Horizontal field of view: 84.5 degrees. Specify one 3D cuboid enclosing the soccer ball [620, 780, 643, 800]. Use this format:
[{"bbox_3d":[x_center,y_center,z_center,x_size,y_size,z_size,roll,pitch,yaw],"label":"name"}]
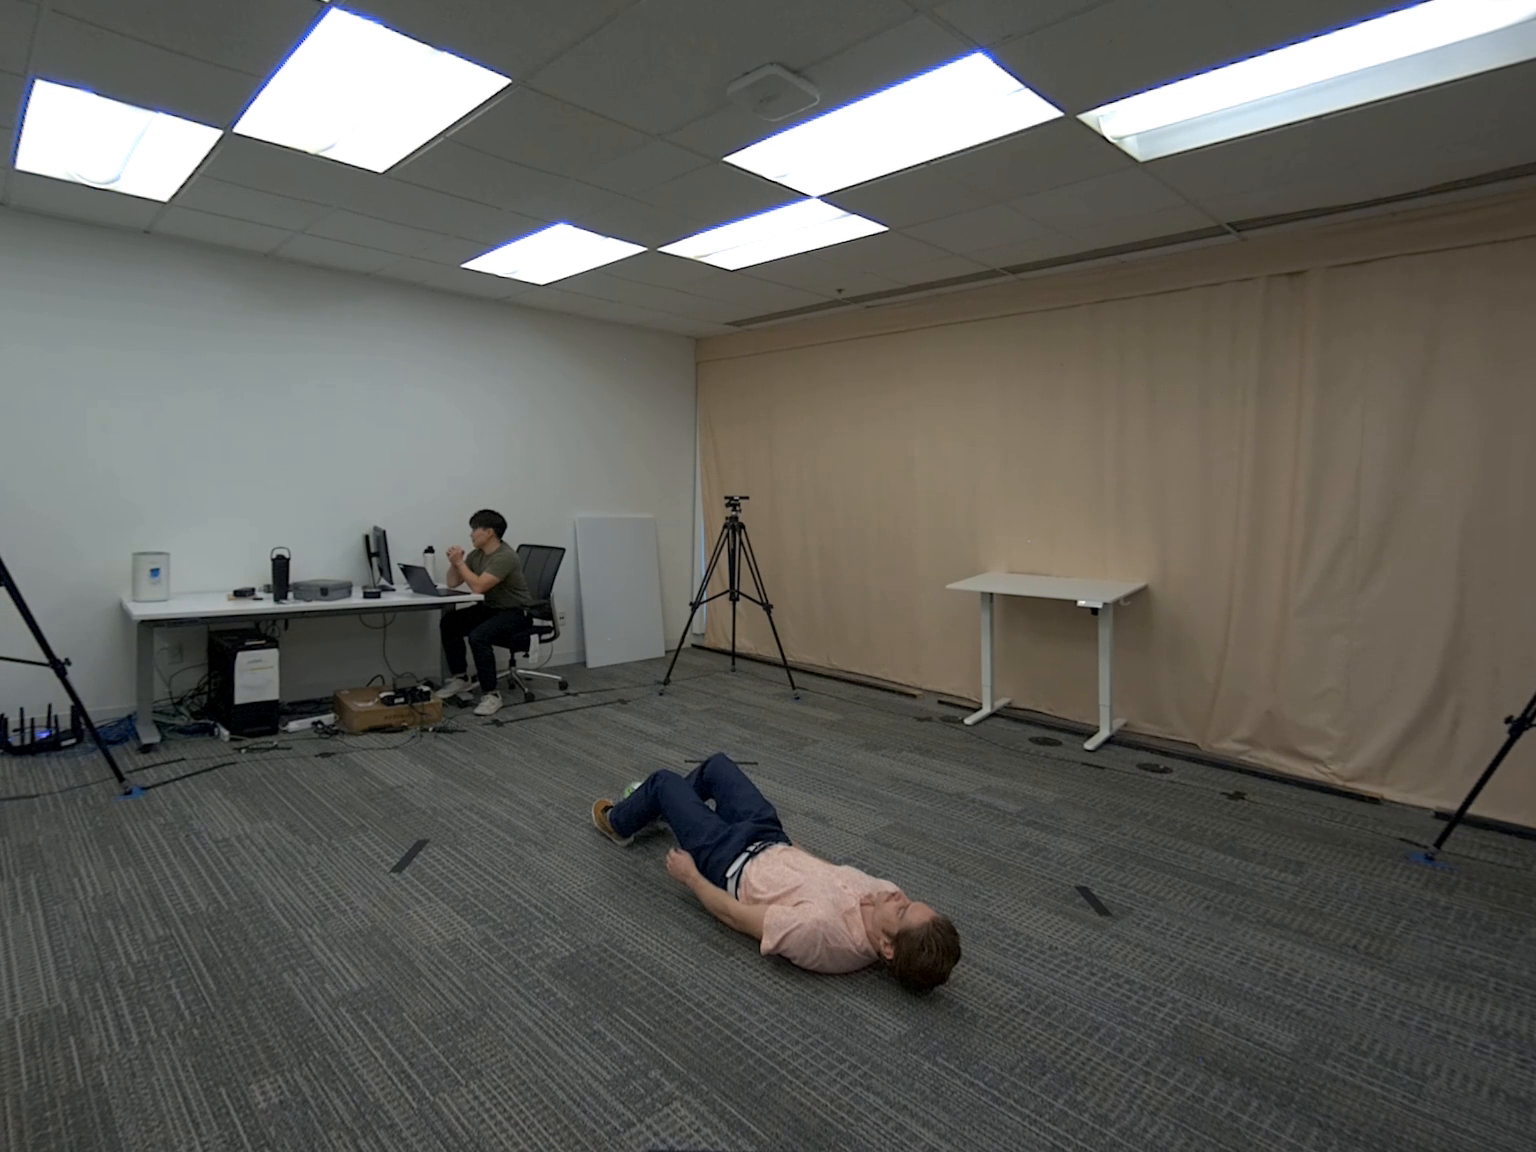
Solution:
[{"bbox_3d":[-0.503,0.921,3.425,0.187,0.187,0.188,1,4,-1],"label":"soccer ball"}]
